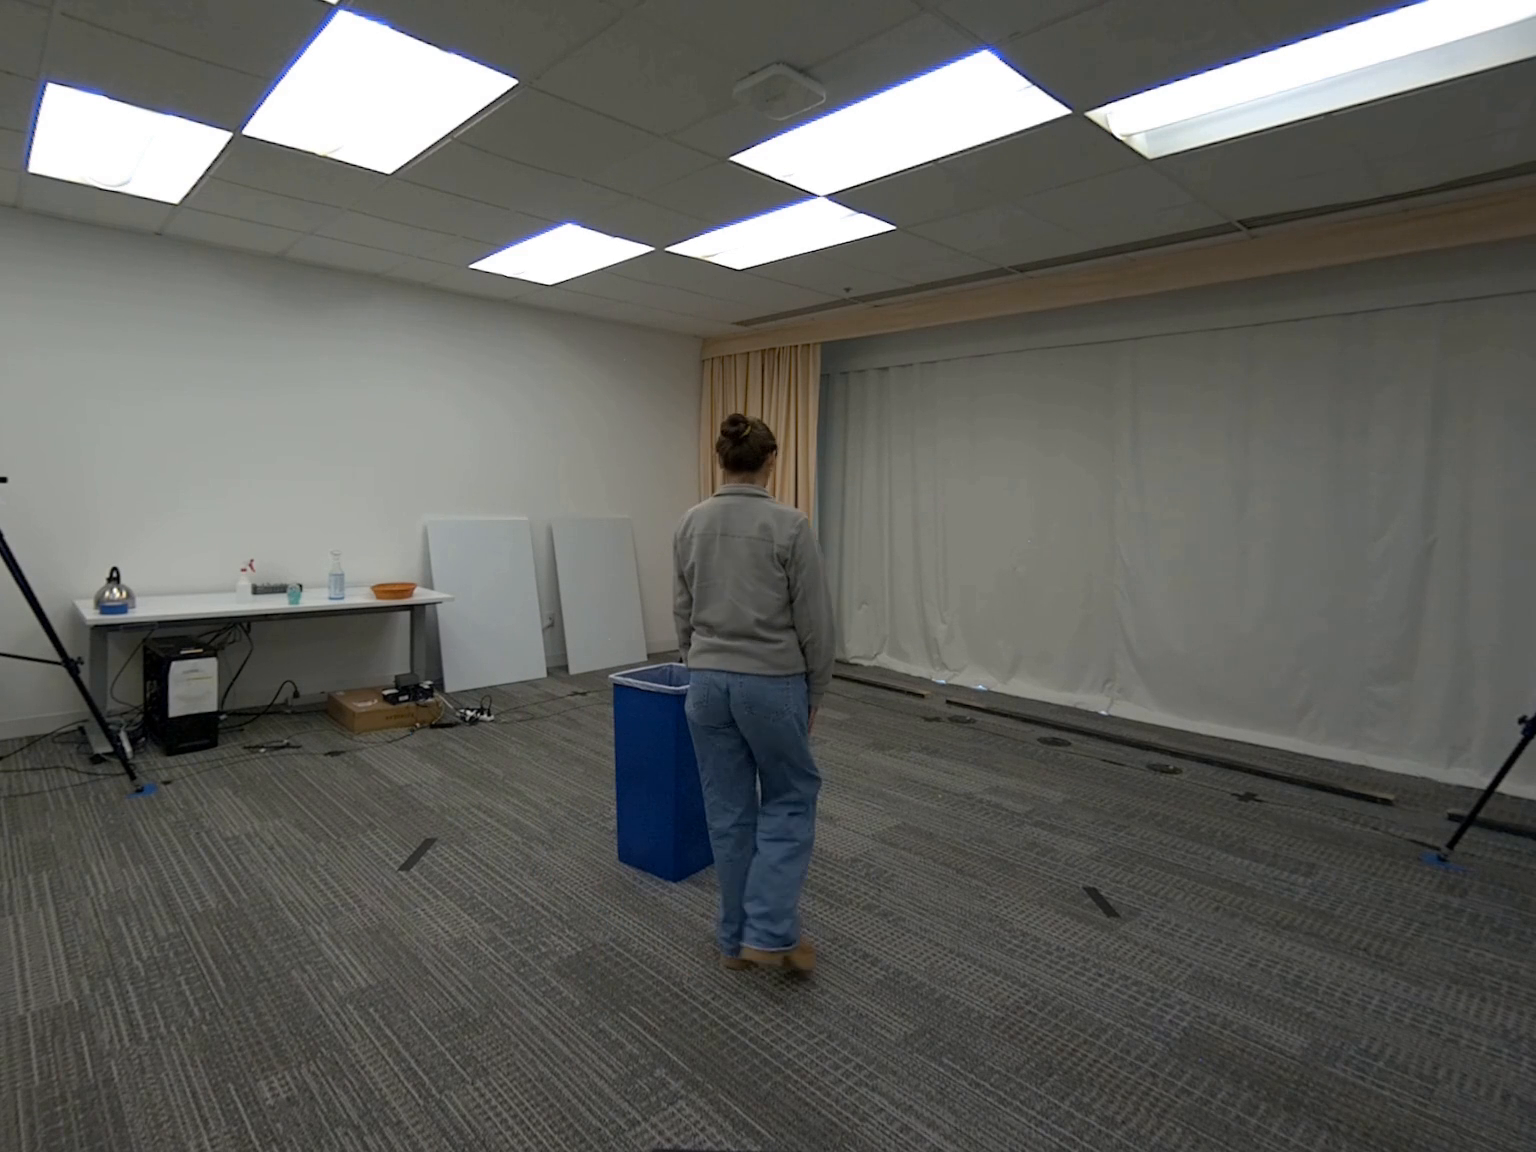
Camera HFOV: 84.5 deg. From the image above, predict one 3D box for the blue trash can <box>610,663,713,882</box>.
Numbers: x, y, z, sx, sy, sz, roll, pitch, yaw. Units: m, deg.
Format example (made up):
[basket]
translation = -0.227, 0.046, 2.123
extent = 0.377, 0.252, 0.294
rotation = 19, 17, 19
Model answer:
[blue trash can]
translation = -0.378, 0.729, 3.215
extent = 0.383, 0.712, 0.370
rotation = 4, 4, 37
